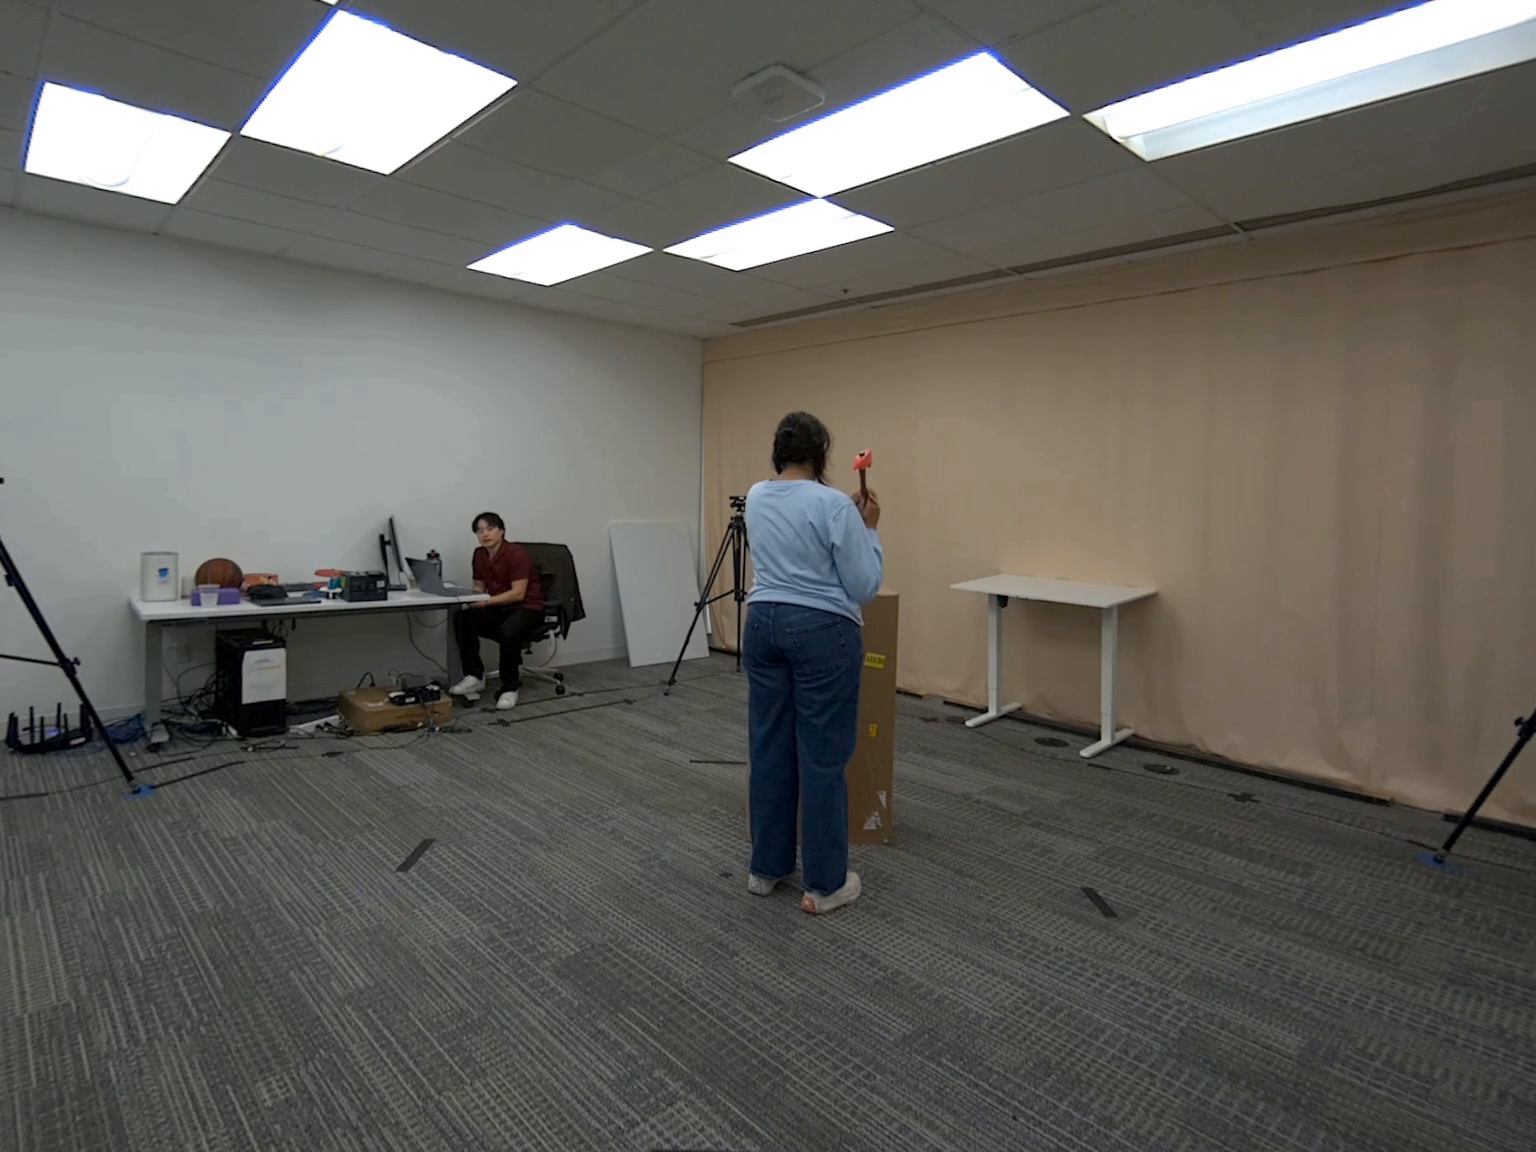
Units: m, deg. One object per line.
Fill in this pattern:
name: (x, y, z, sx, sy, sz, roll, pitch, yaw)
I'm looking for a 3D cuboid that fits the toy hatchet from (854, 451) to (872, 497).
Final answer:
toy hatchet: (0.331, -0.330, 2.896, 0.030, 0.132, 0.262, 15, -31, 26)
